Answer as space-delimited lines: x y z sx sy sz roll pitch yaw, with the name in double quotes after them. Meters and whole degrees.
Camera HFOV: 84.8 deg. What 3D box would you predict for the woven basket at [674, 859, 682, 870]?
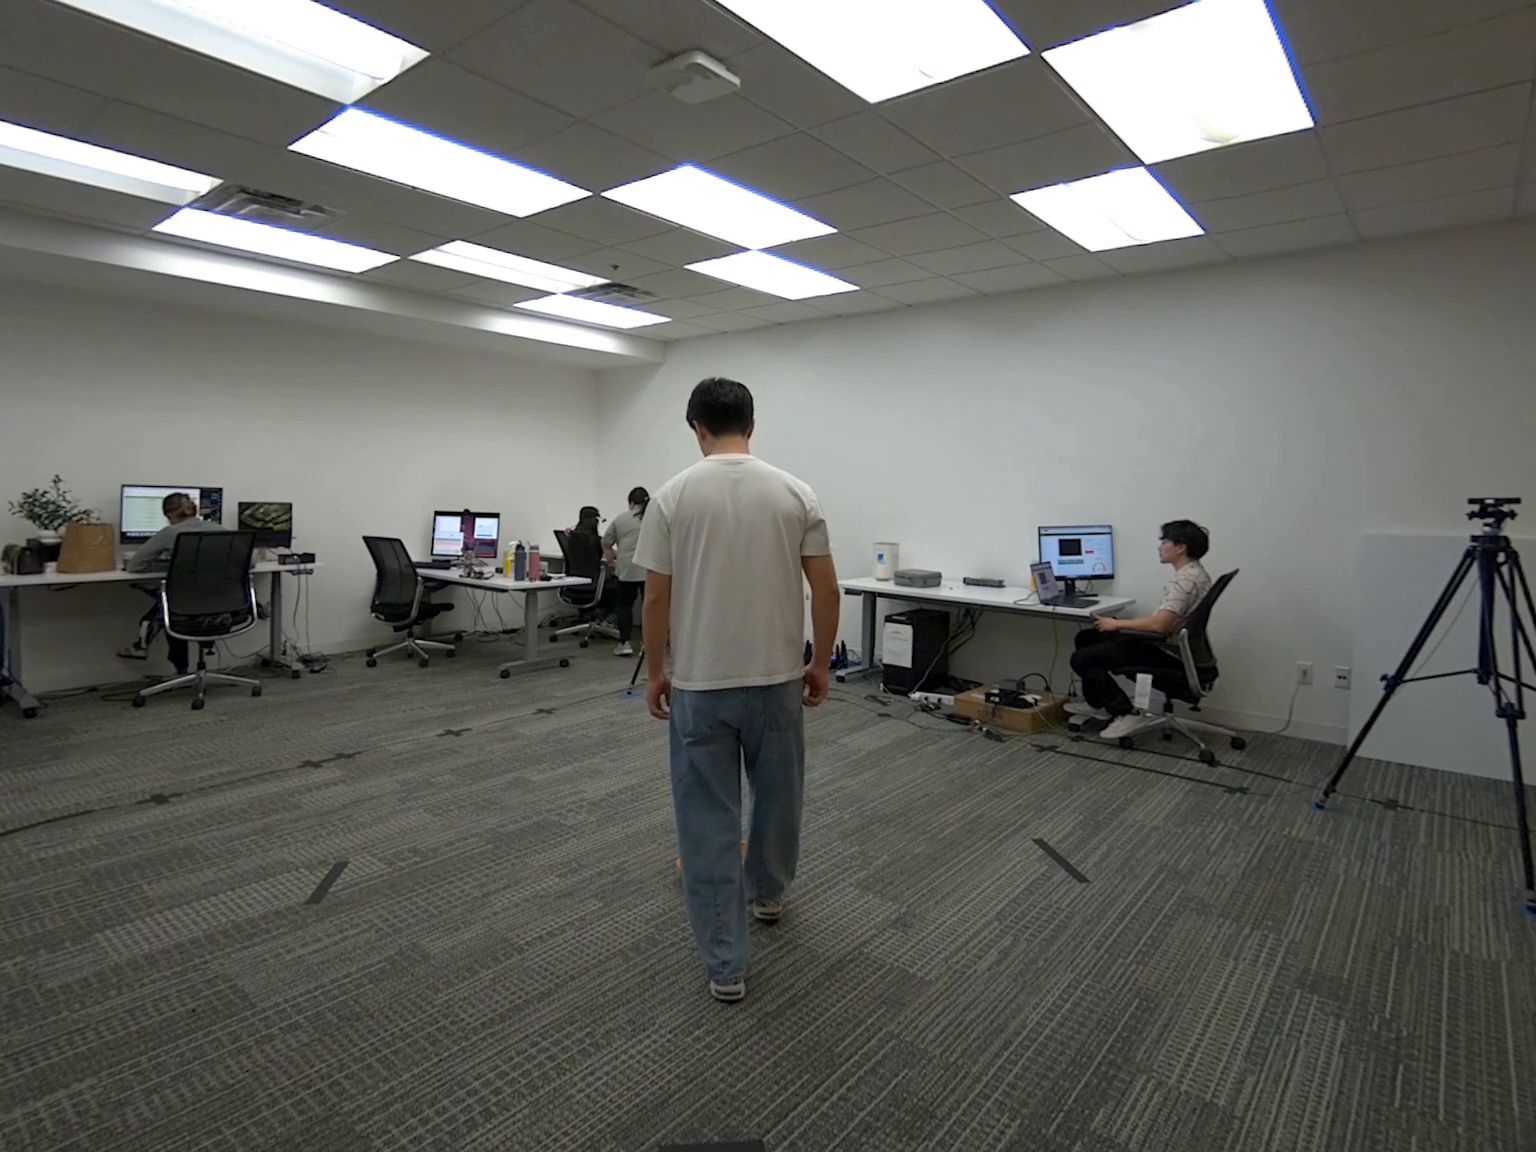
-0.161 1.026 3.023 0.340 0.073 0.260 -5 4 -43 "woven basket"
